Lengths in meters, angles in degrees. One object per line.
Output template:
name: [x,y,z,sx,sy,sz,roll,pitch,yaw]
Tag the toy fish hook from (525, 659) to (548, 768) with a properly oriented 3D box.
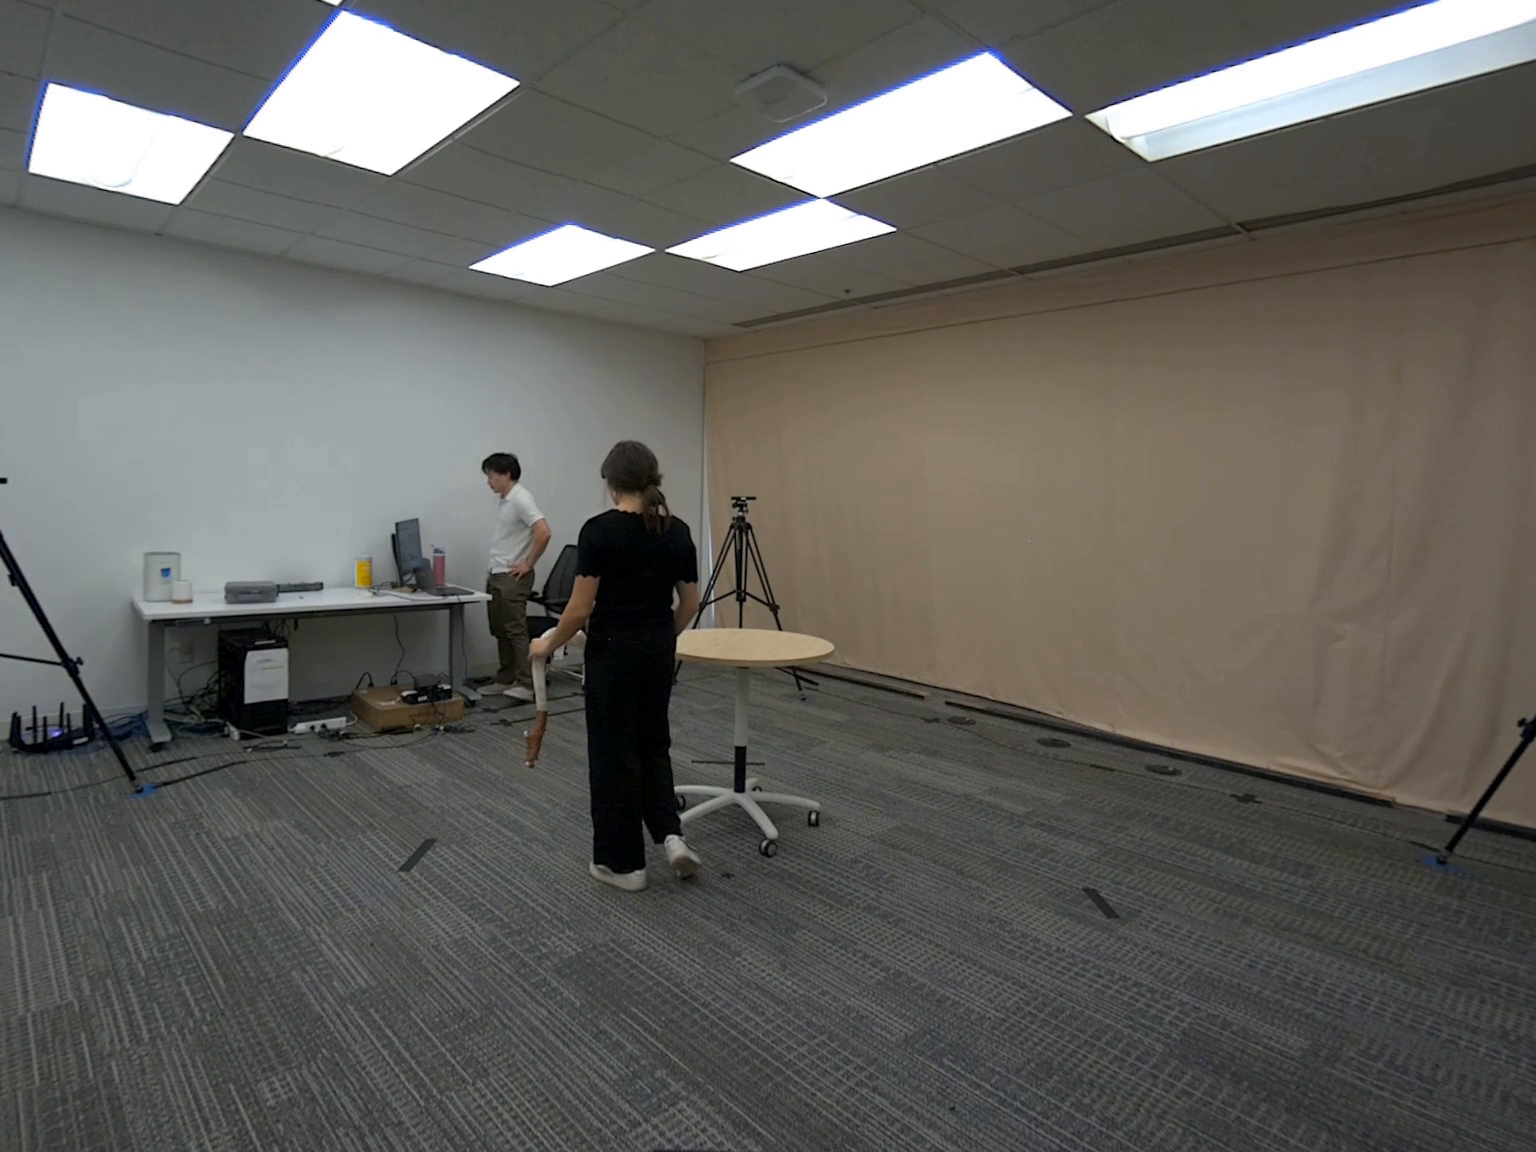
toy fish hook: [-0.759,0.431,3.026,0.223,0.513,0.048,9,-20,-9]
